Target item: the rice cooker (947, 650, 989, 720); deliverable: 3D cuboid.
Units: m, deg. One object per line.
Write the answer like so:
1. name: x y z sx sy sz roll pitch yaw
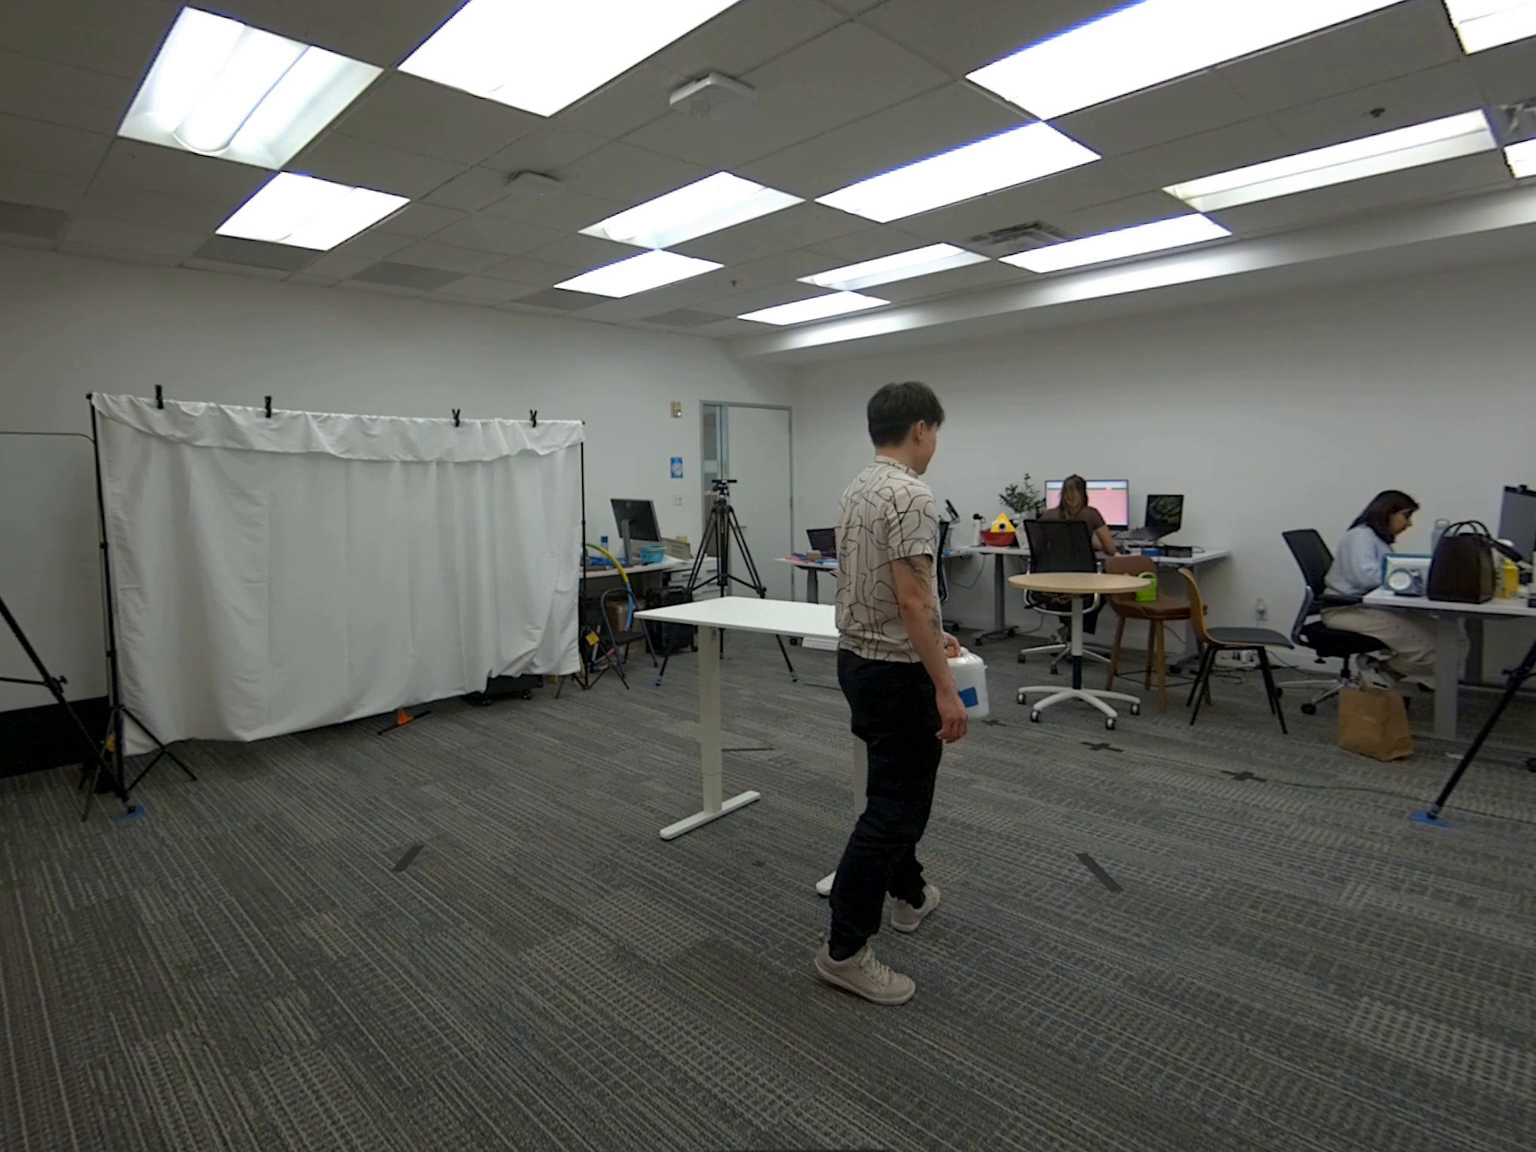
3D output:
1. rice cooker: 0.593 0.344 2.724 0.215 0.234 0.222 -3 -3 -31
